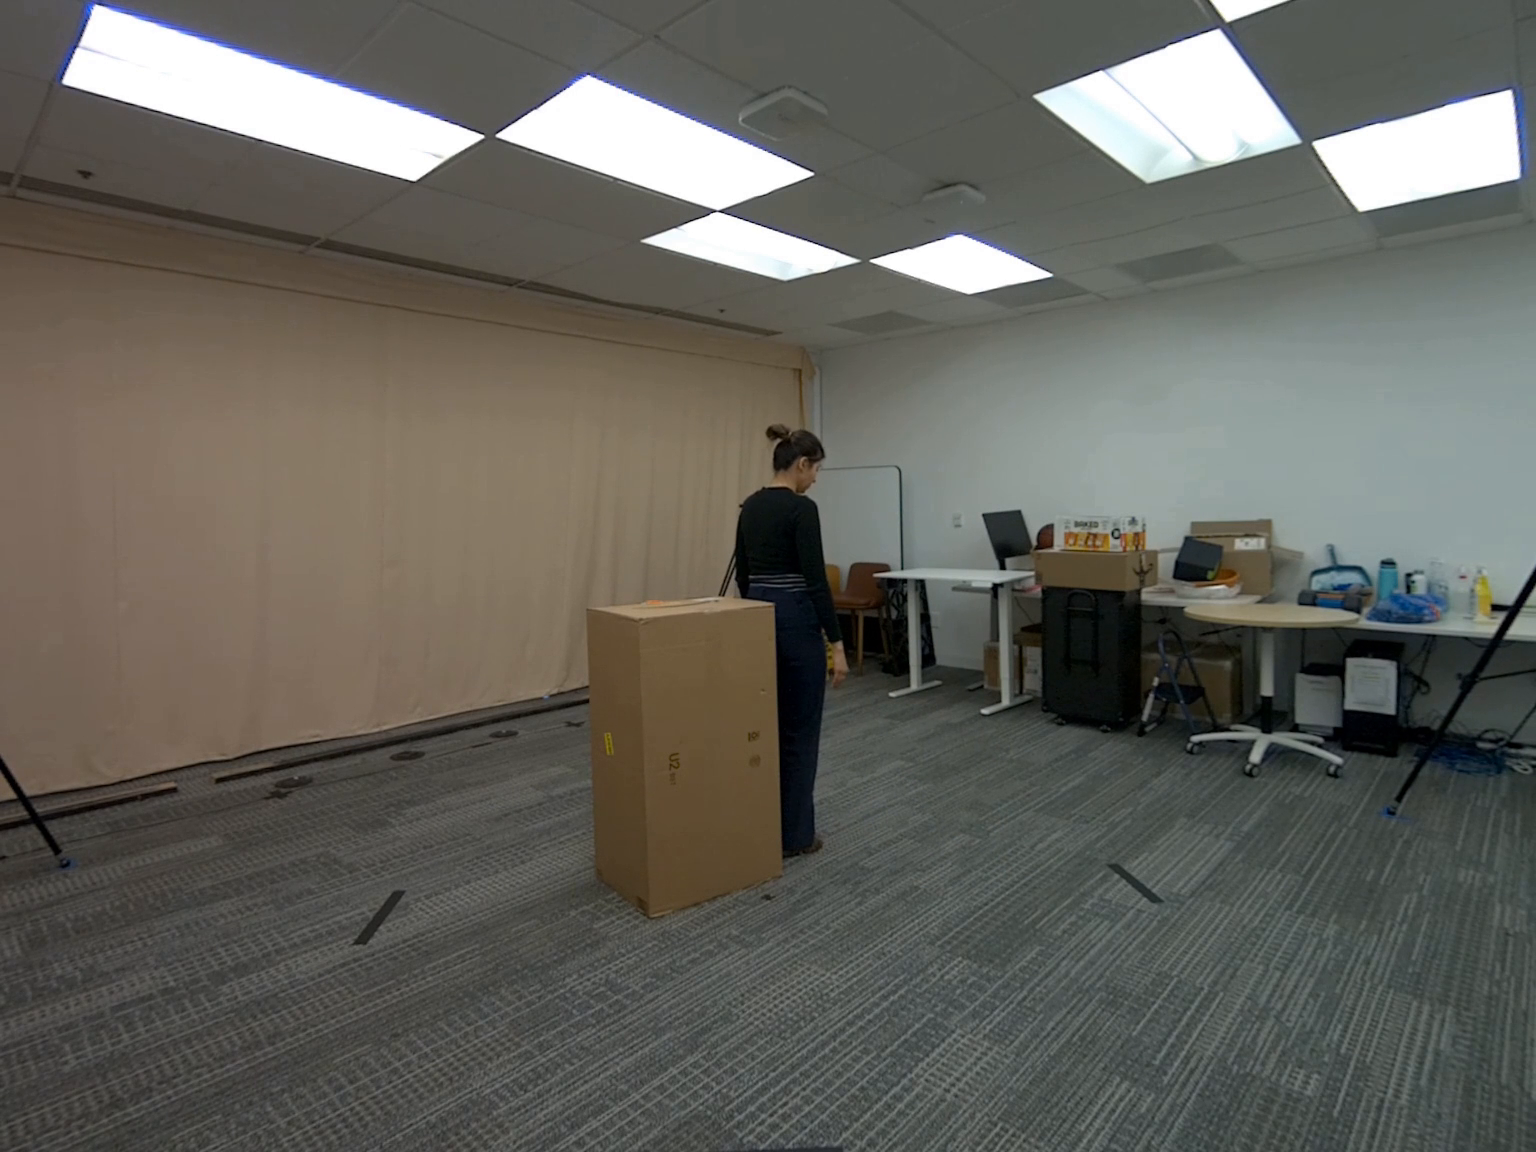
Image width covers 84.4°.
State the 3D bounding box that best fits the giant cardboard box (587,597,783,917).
[{"bbox_3d":[-0.315,0.624,3.143,0.561,1.024,0.439,-4,4,-35],"label":"giant cardboard box"}]
